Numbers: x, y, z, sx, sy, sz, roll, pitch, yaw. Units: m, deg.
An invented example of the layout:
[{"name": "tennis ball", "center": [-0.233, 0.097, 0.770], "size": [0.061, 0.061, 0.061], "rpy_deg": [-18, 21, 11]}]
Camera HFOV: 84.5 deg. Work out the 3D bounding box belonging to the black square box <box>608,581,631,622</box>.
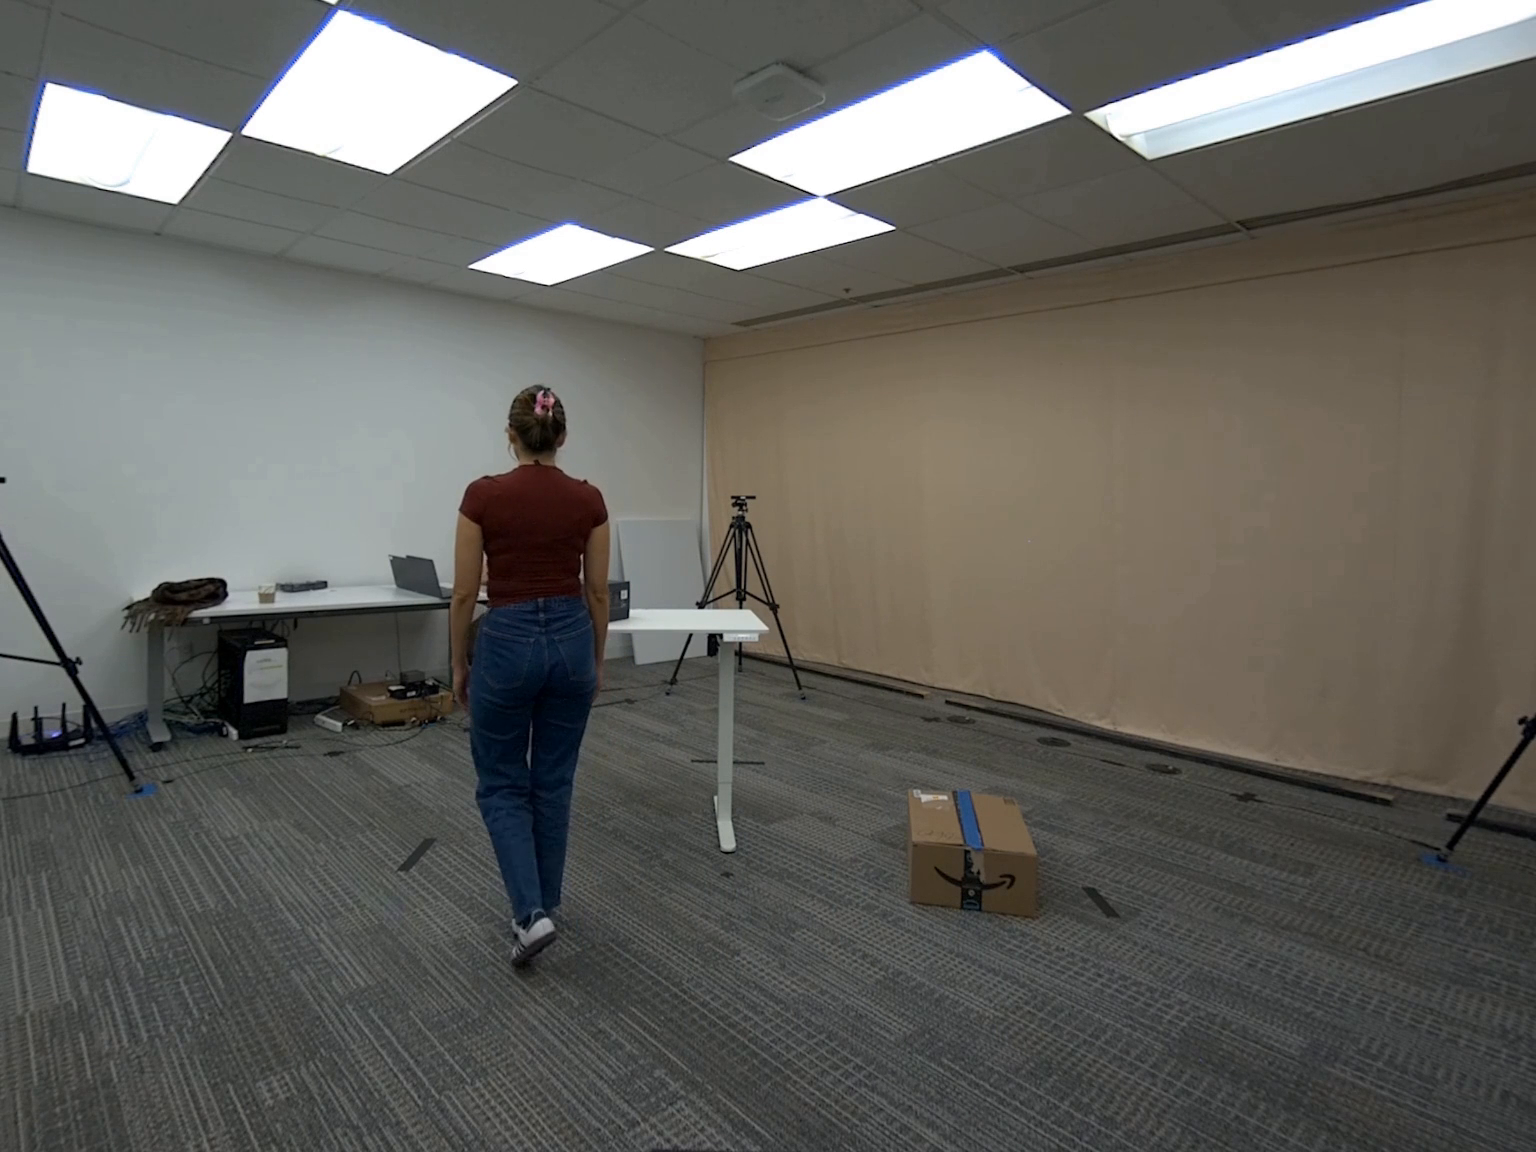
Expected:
[{"name": "black square box", "center": [-0.728, 0.100, 3.438], "size": [0.233, 0.155, 0.213], "rpy_deg": [3, 4, 28]}]
